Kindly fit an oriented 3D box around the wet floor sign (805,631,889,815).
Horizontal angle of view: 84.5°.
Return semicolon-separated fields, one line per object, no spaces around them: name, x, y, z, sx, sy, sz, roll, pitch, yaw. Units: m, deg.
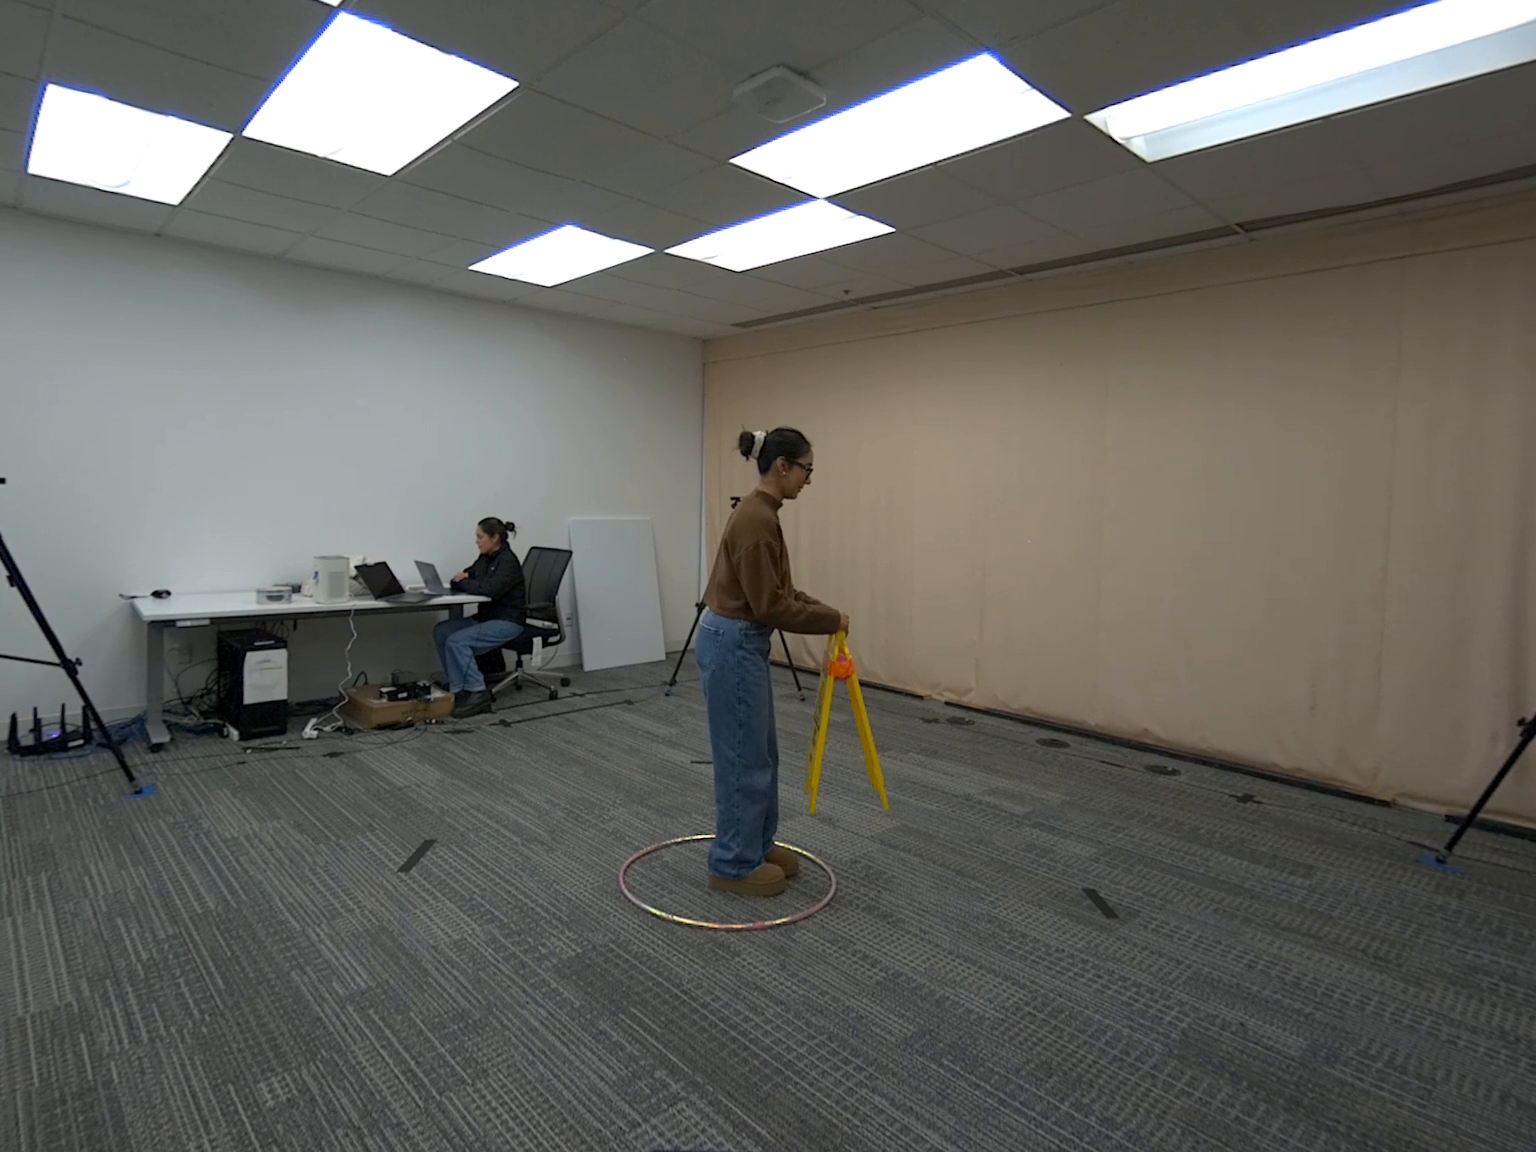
wet floor sign;0.257;0.494;3.018;0.290;0.644;0.283;-2;4;0
